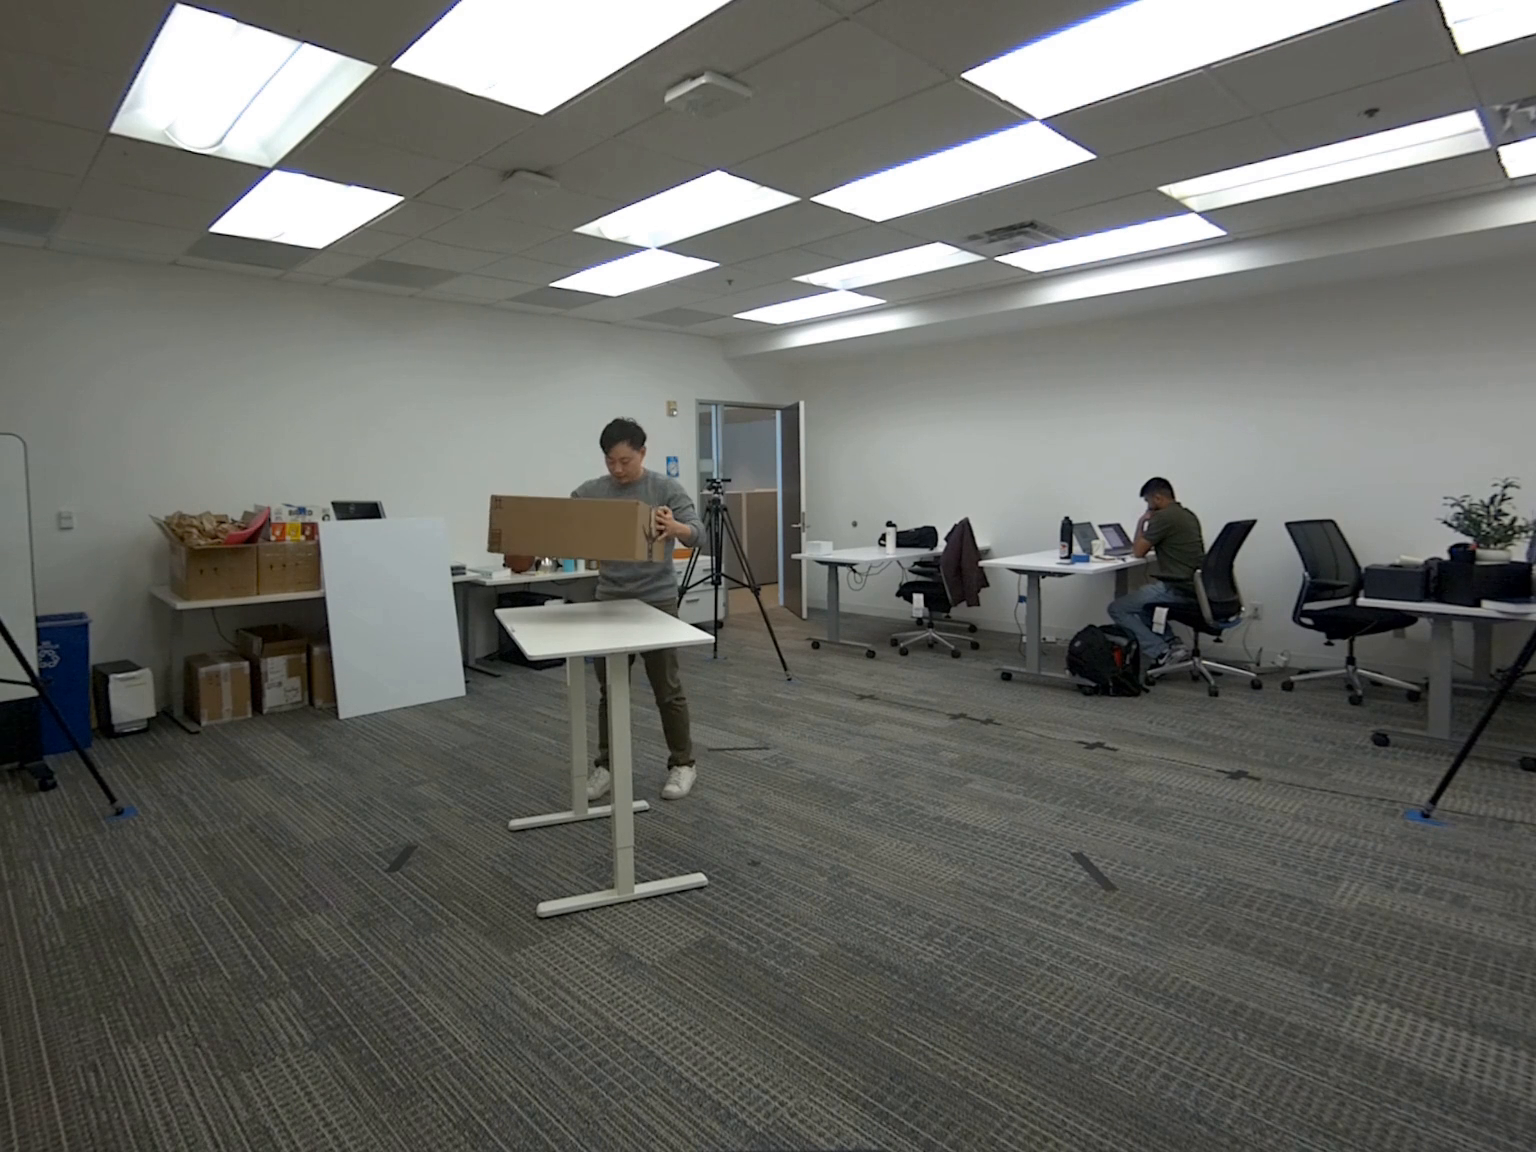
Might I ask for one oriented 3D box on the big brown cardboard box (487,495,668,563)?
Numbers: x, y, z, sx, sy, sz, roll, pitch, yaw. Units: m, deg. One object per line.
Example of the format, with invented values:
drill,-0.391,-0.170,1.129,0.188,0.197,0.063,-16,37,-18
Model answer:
big brown cardboard box,-0.731,-0.179,3.296,0.595,0.233,0.413,4,0,9
